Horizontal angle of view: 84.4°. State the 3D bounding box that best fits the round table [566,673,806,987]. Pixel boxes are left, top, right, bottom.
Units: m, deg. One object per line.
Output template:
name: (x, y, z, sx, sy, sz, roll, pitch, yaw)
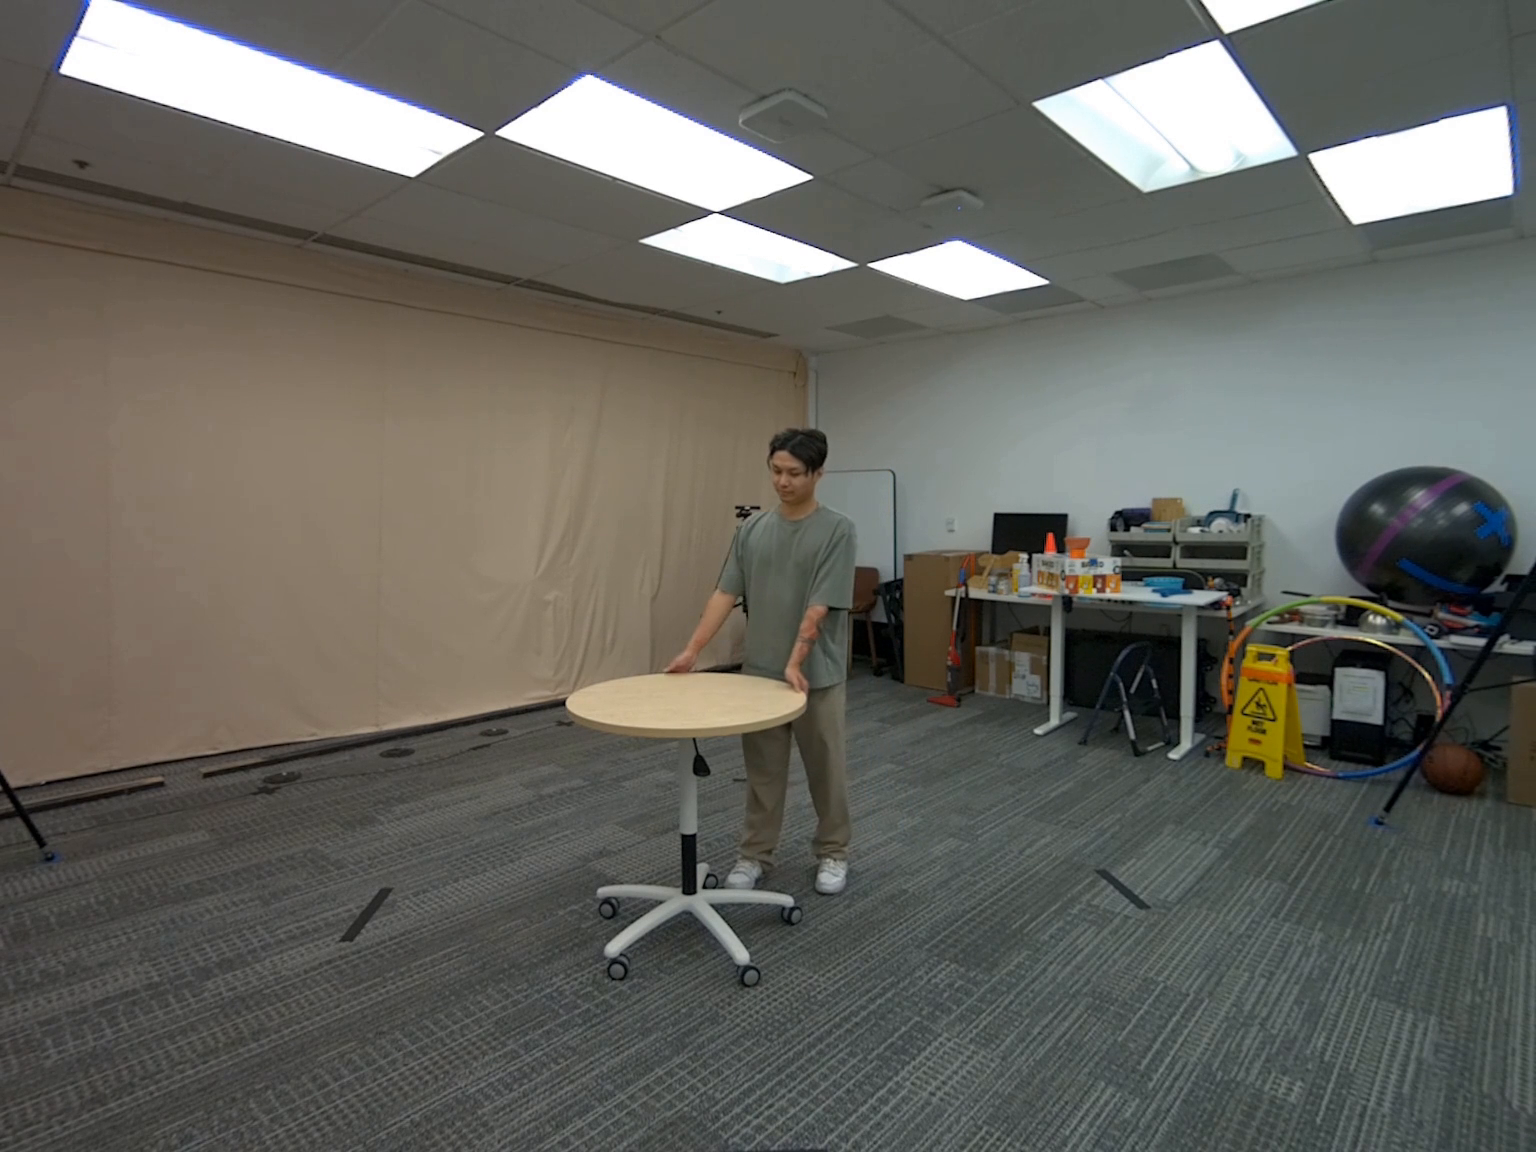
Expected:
round table: (-0.264, 0.773, 2.727, 0.784, 0.785, 0.788, -1, 4, -2)
